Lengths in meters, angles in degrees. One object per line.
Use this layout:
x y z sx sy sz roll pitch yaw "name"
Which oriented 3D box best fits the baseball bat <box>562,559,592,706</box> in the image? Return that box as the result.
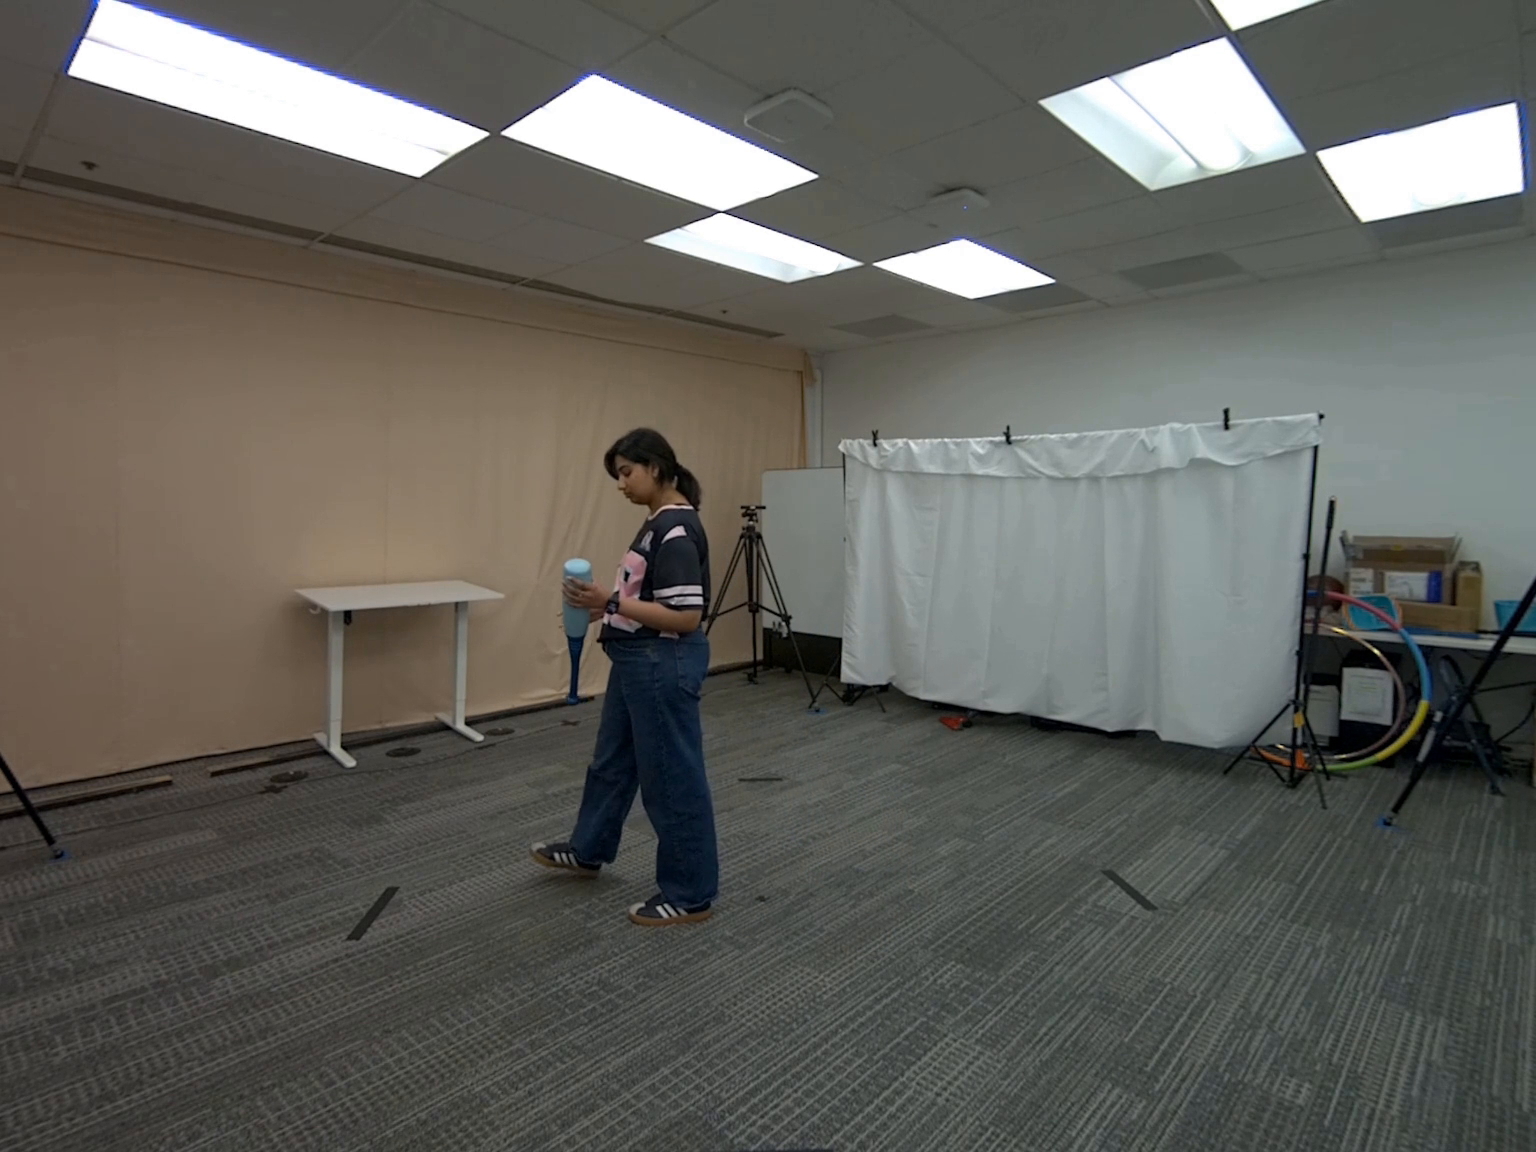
-0.607 0.196 2.659 0.088 0.537 0.090 7 28 -6 "baseball bat"
